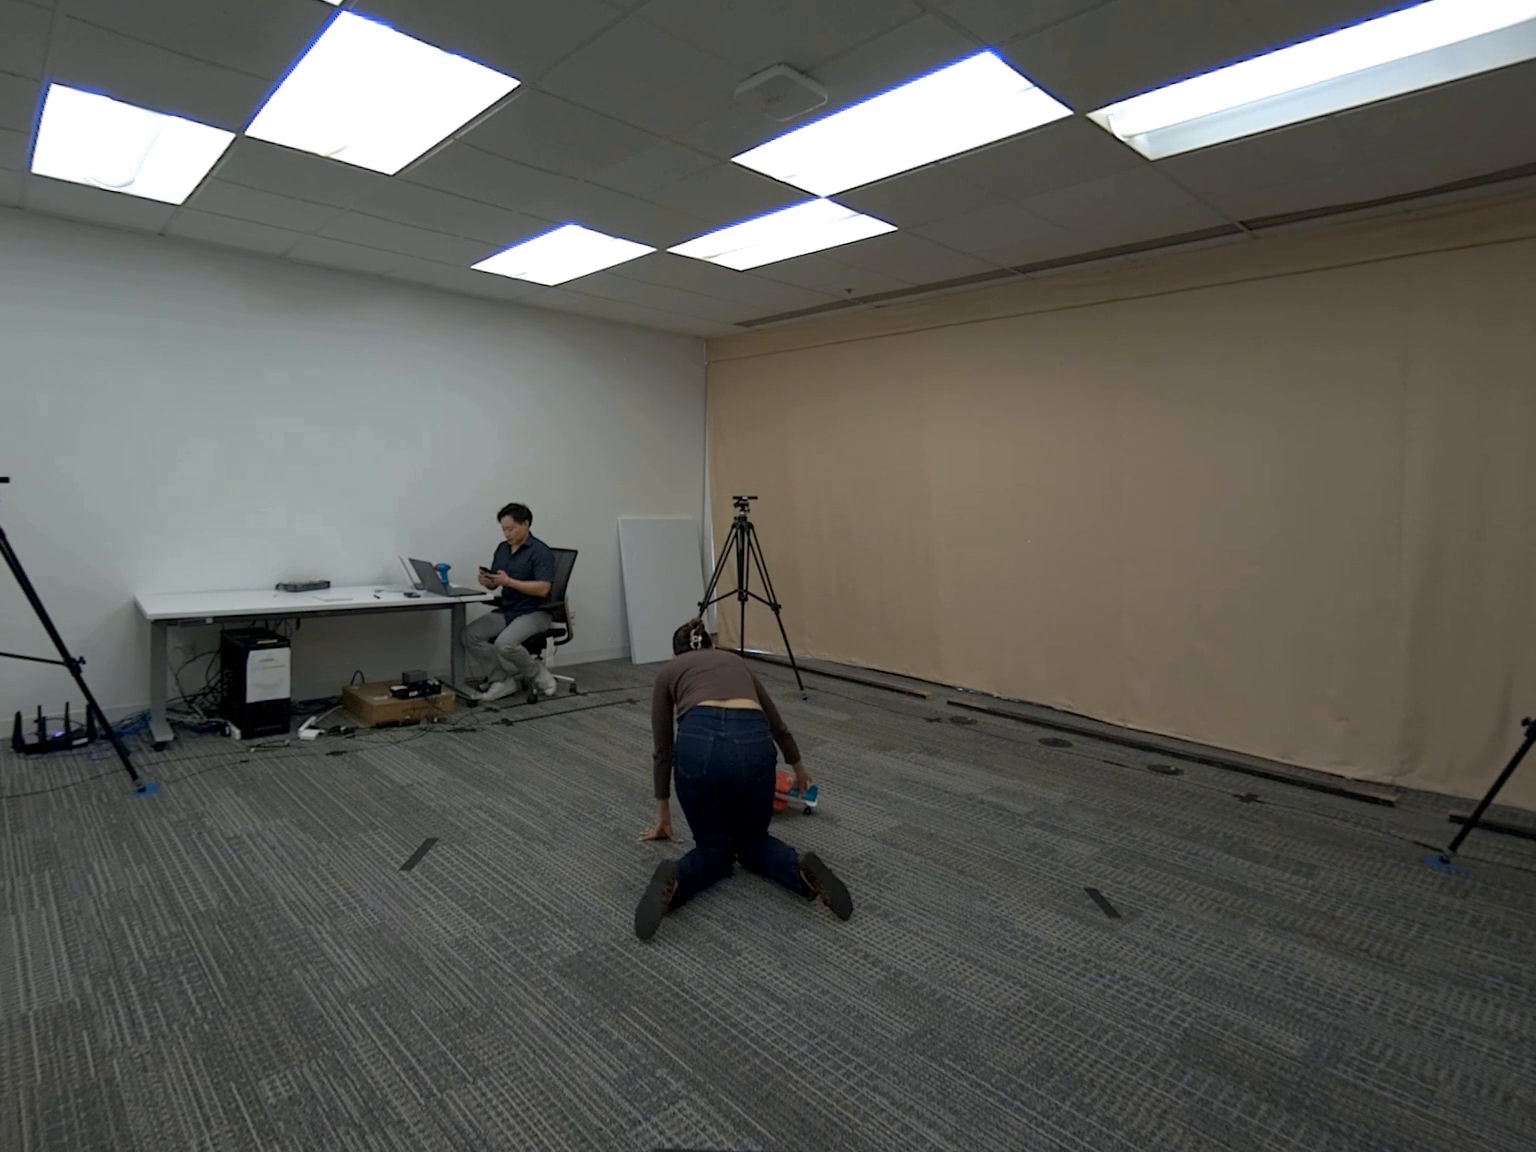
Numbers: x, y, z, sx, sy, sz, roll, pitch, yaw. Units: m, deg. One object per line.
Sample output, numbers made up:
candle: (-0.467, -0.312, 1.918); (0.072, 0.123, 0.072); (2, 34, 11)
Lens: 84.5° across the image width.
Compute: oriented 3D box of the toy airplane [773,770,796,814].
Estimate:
toy airplane: (0.081, 0.981, 3.770); (0.255, 0.156, 0.256); (1, 5, -23)
